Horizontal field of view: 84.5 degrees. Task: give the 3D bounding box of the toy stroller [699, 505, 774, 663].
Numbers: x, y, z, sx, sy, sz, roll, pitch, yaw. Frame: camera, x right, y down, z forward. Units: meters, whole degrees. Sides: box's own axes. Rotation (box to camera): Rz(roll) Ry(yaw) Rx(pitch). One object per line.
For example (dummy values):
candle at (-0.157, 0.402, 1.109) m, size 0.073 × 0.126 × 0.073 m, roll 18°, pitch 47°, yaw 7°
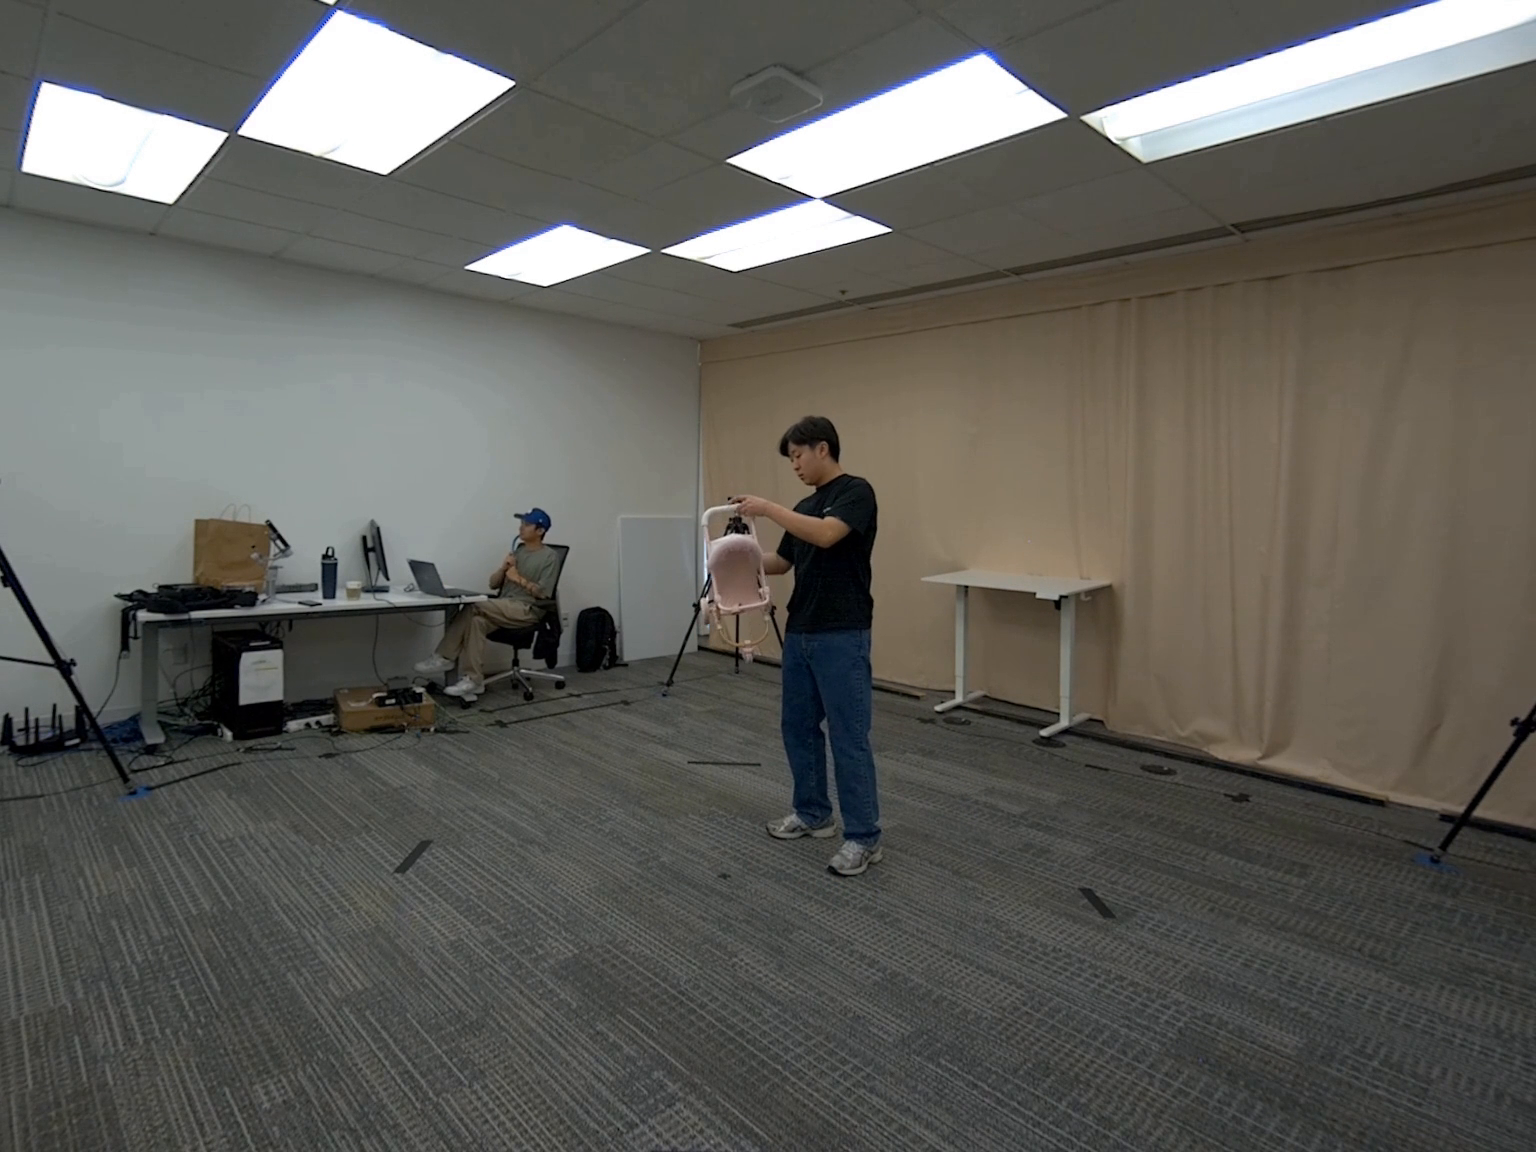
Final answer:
toy stroller at (-0.130, 0.043, 3.218) m, size 0.280 × 0.525 × 0.349 m, roll -5°, pitch 28°, yaw -8°
